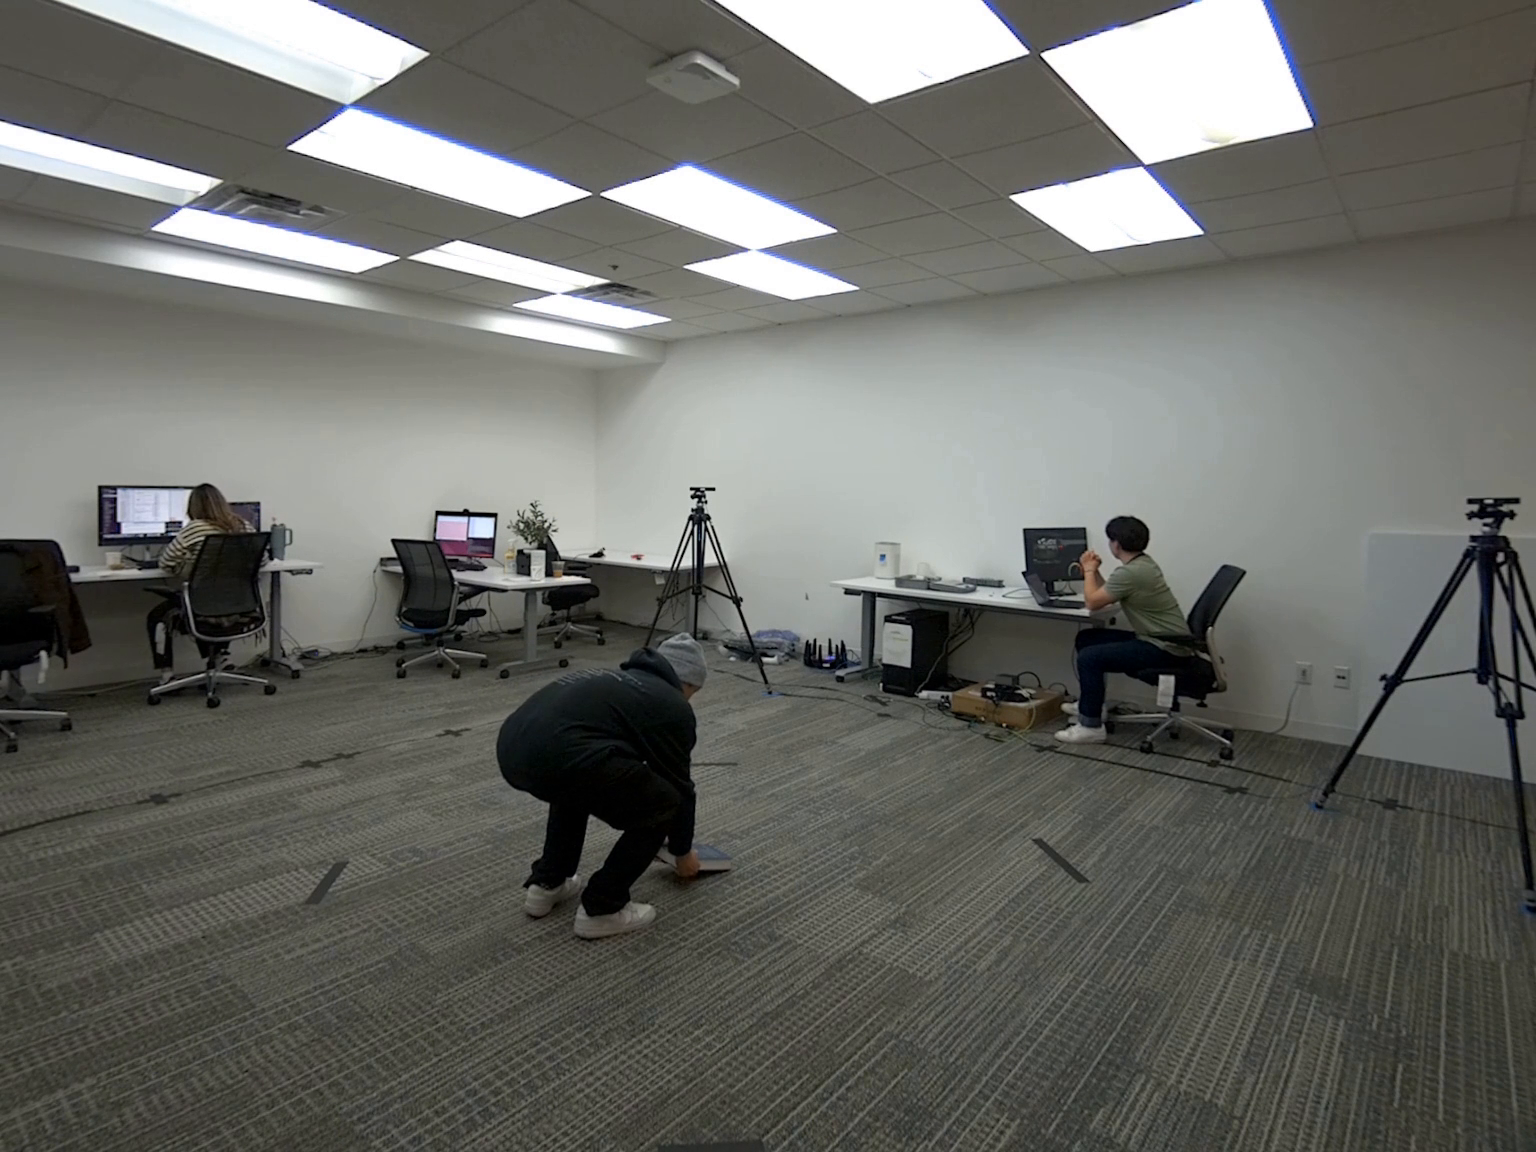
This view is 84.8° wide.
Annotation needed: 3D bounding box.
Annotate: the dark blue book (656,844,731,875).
[{"bbox_3d":[-0.279,1.021,3.094,0.236,0.045,0.169,13,-3,-36],"label":"dark blue book"}]
